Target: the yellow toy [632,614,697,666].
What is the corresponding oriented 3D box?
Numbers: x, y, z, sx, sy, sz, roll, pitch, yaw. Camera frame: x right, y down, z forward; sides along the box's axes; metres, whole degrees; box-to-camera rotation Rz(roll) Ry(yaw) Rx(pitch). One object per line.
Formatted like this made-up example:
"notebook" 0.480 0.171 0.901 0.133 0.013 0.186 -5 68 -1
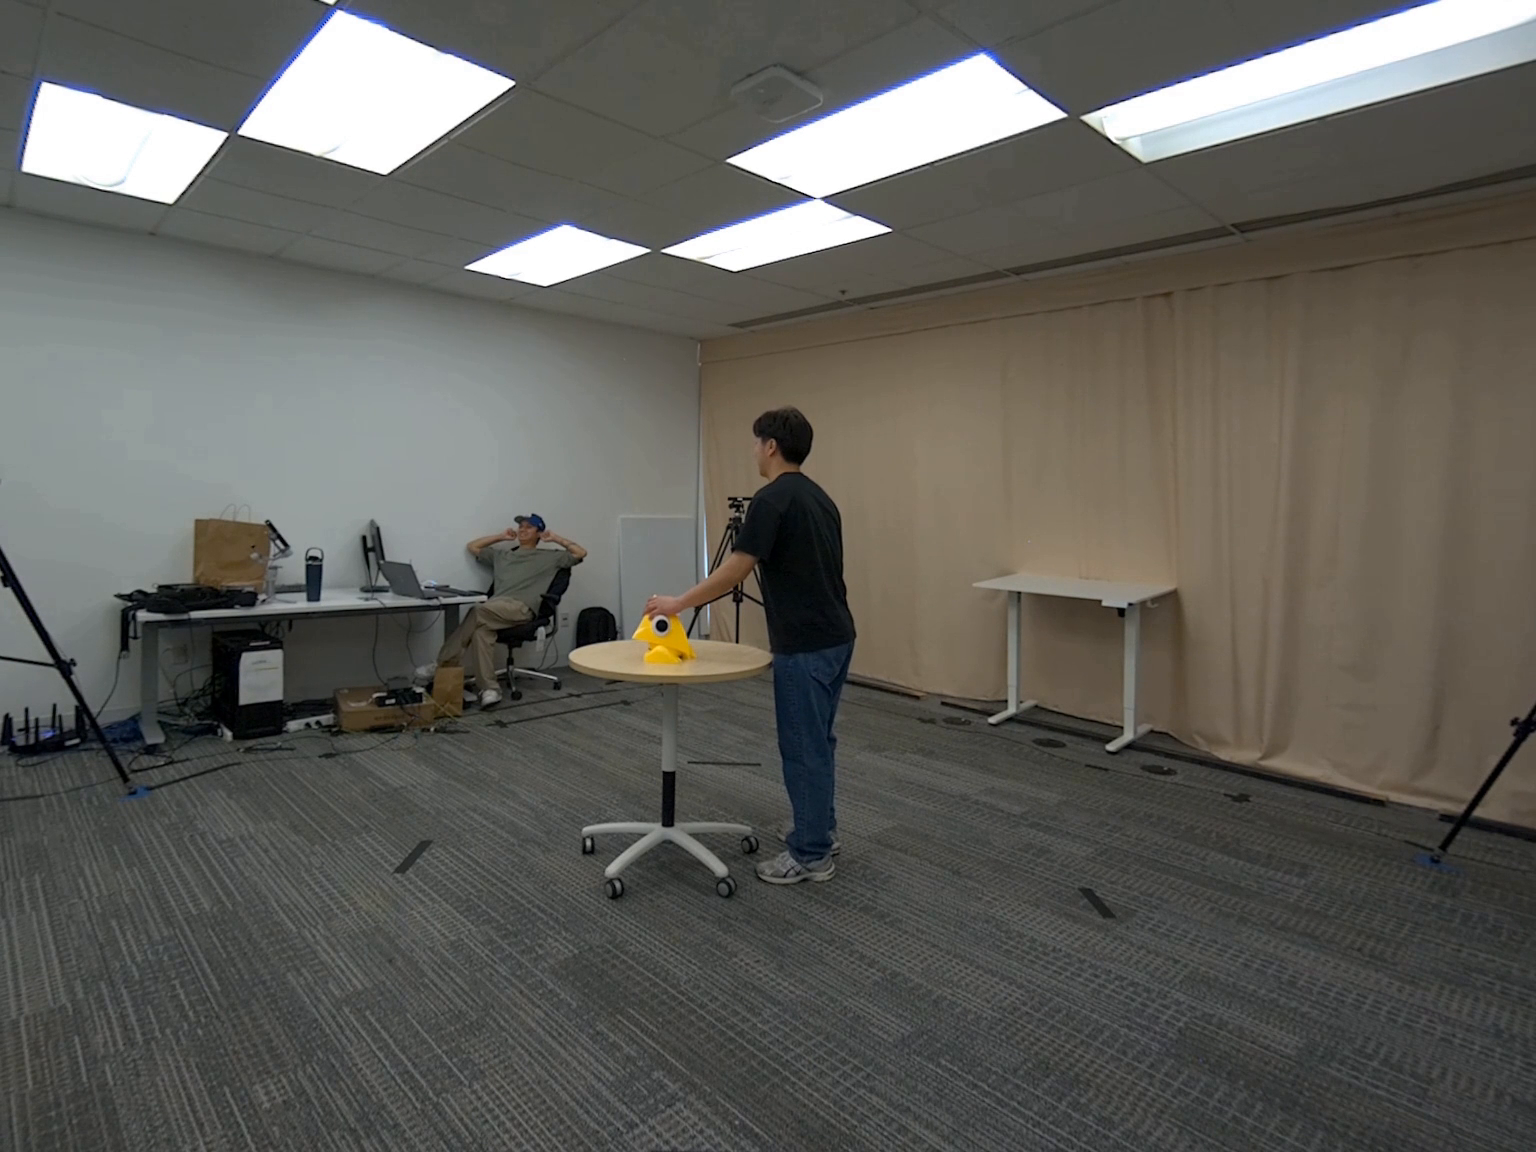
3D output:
"yellow toy" -0.374 0.191 3.113 0.197 0.230 0.202 3 6 24
